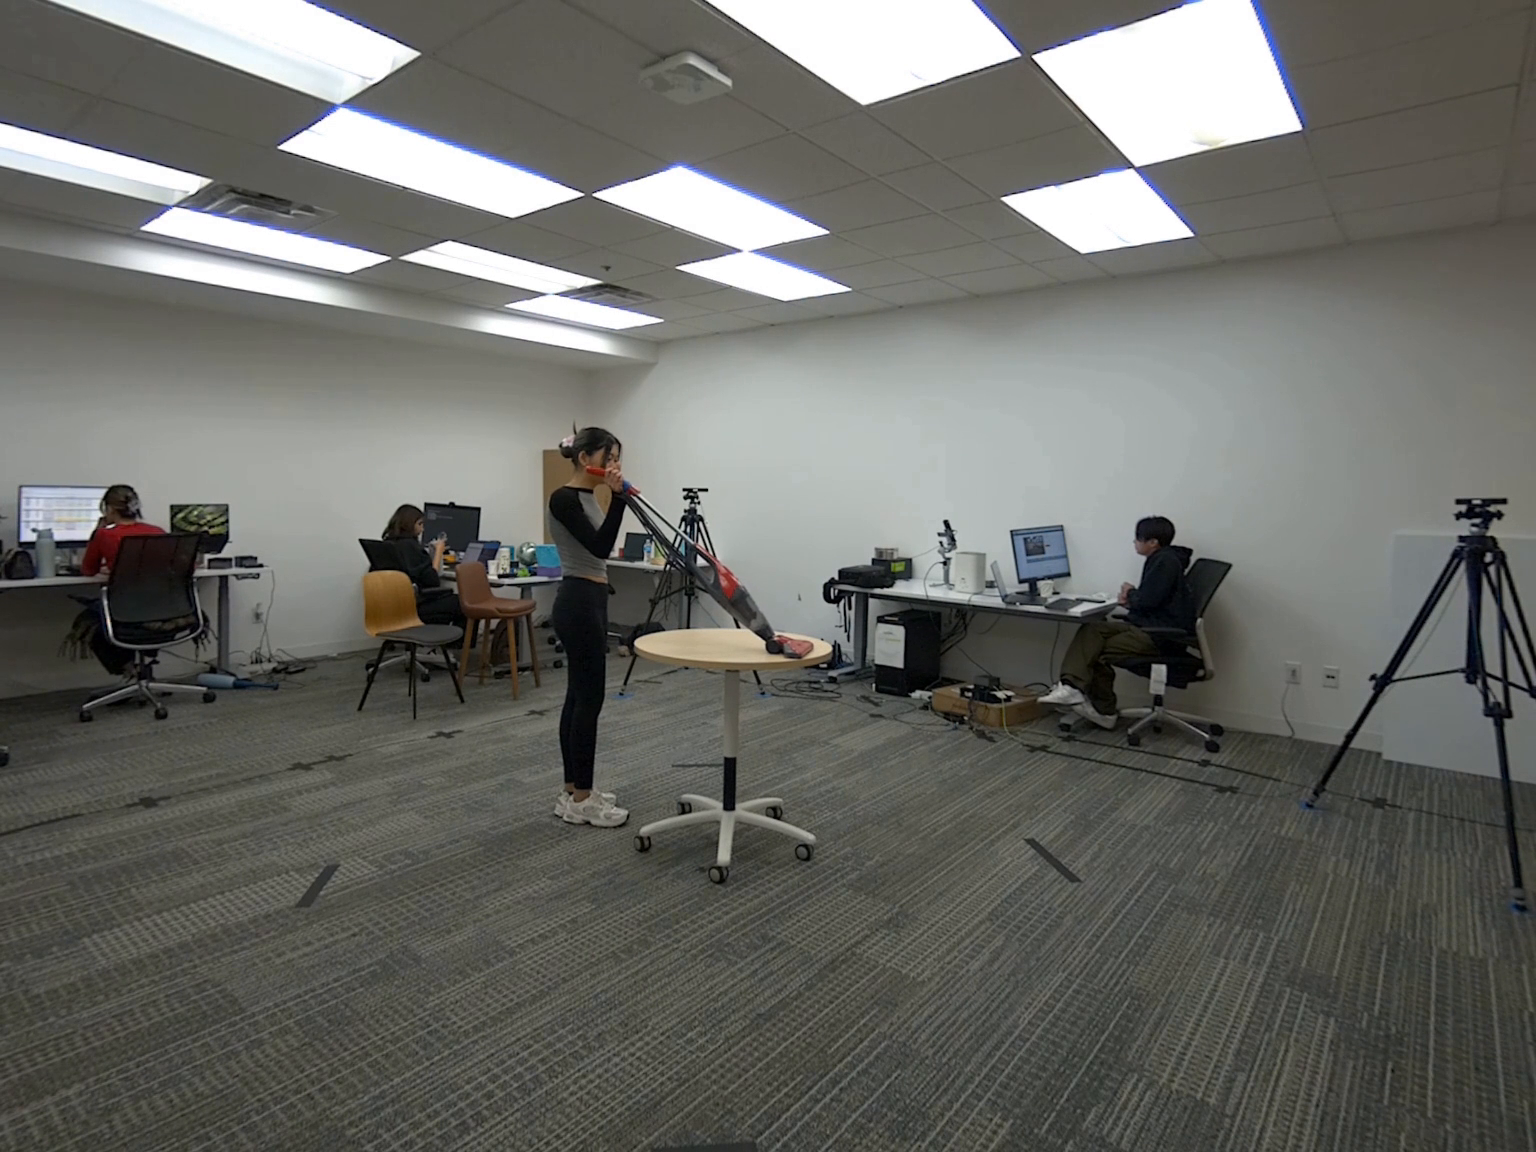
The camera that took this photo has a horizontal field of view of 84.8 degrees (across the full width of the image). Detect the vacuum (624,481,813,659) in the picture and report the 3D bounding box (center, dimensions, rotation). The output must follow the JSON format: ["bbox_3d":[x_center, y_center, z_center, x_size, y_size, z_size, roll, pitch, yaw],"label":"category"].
[{"bbox_3d":[-0.299,-0.074,3.245,1.068,0.144,0.248,41,9,12],"label":"vacuum"}]
